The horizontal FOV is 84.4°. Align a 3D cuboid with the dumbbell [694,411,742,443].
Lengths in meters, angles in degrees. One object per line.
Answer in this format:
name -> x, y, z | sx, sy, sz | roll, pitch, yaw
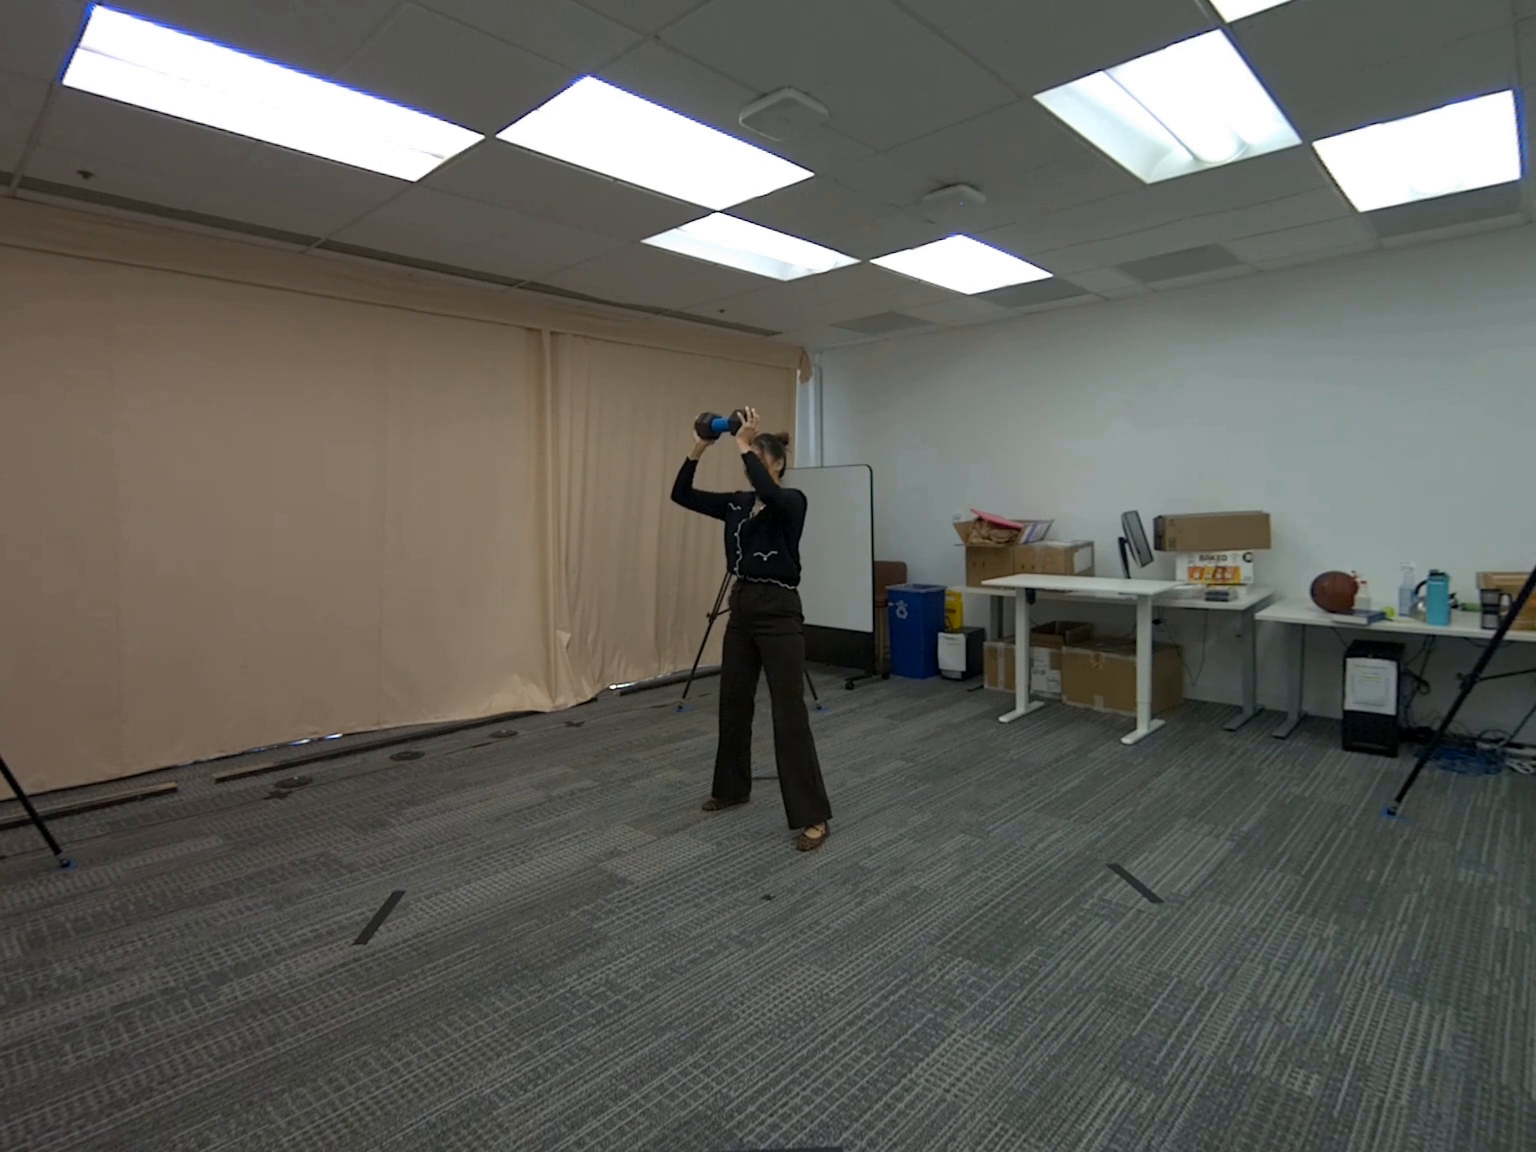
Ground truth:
dumbbell -> -0.171, -0.627, 3.523 | 0.304, 0.123, 0.105 | 8, -34, 48
